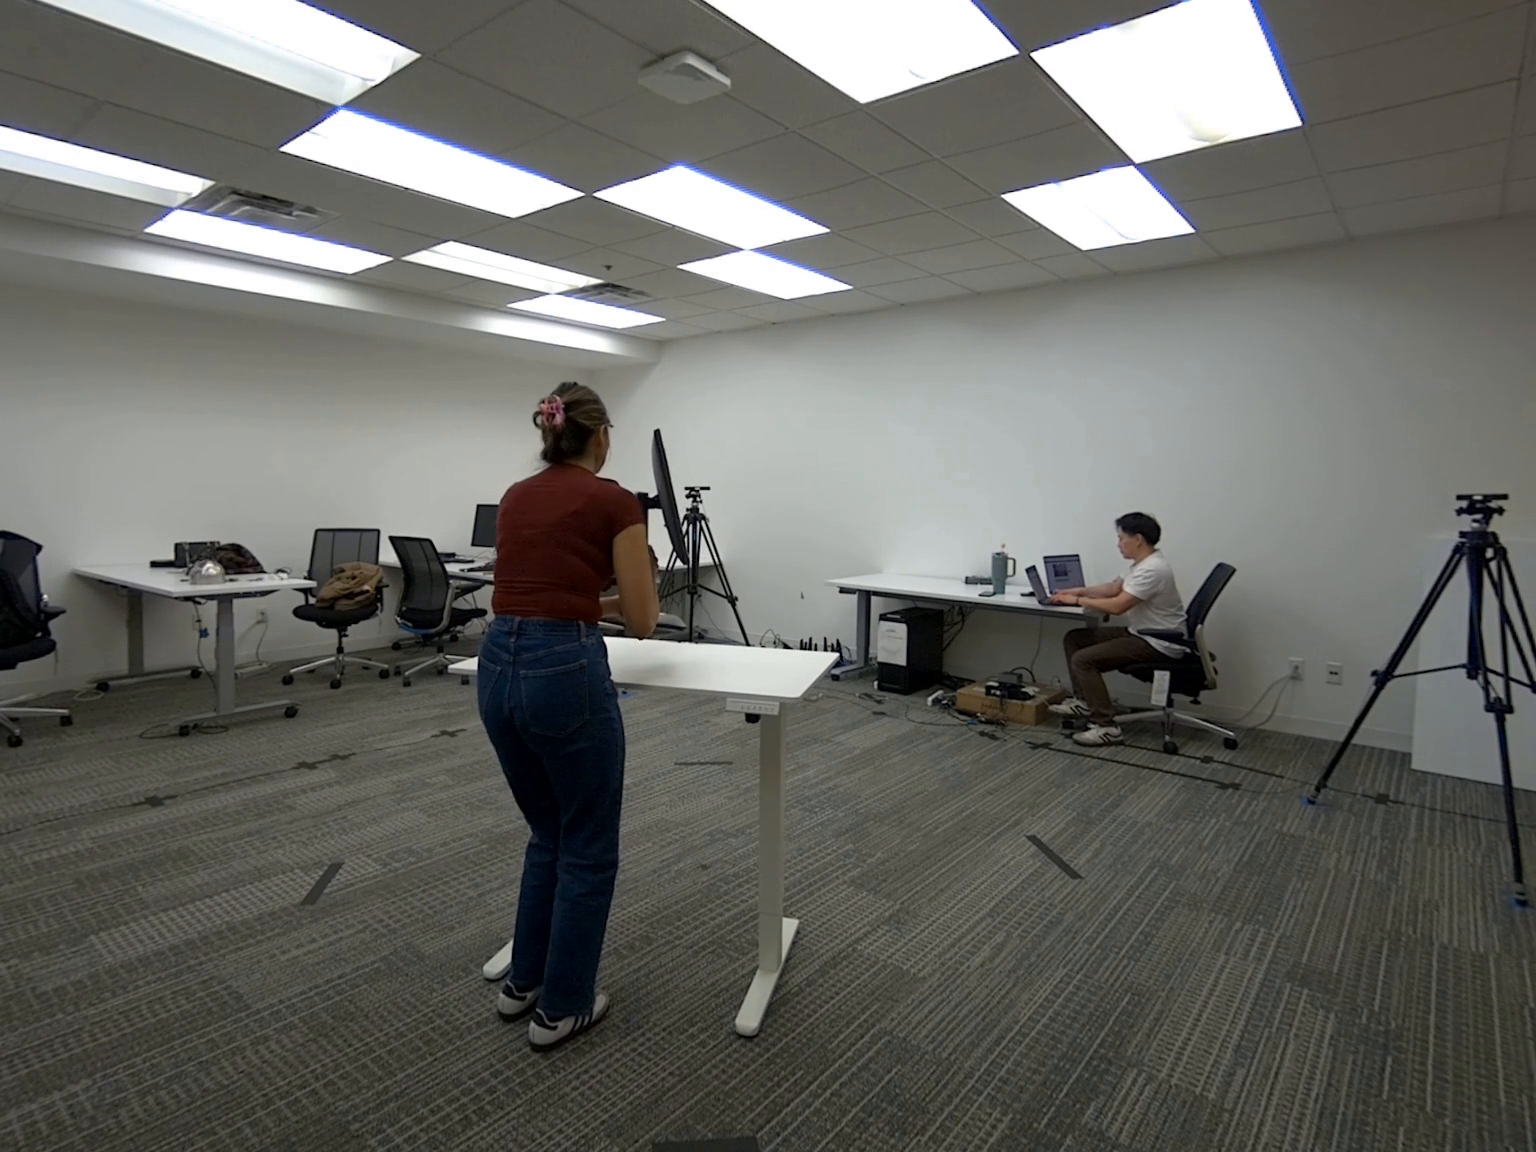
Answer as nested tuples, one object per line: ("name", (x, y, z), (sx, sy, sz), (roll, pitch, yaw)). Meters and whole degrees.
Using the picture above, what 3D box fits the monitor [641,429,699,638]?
("monitor", (-0.315, -0.123, 2.399), (0.186, 0.522, 0.542), (2, 1, -6))
